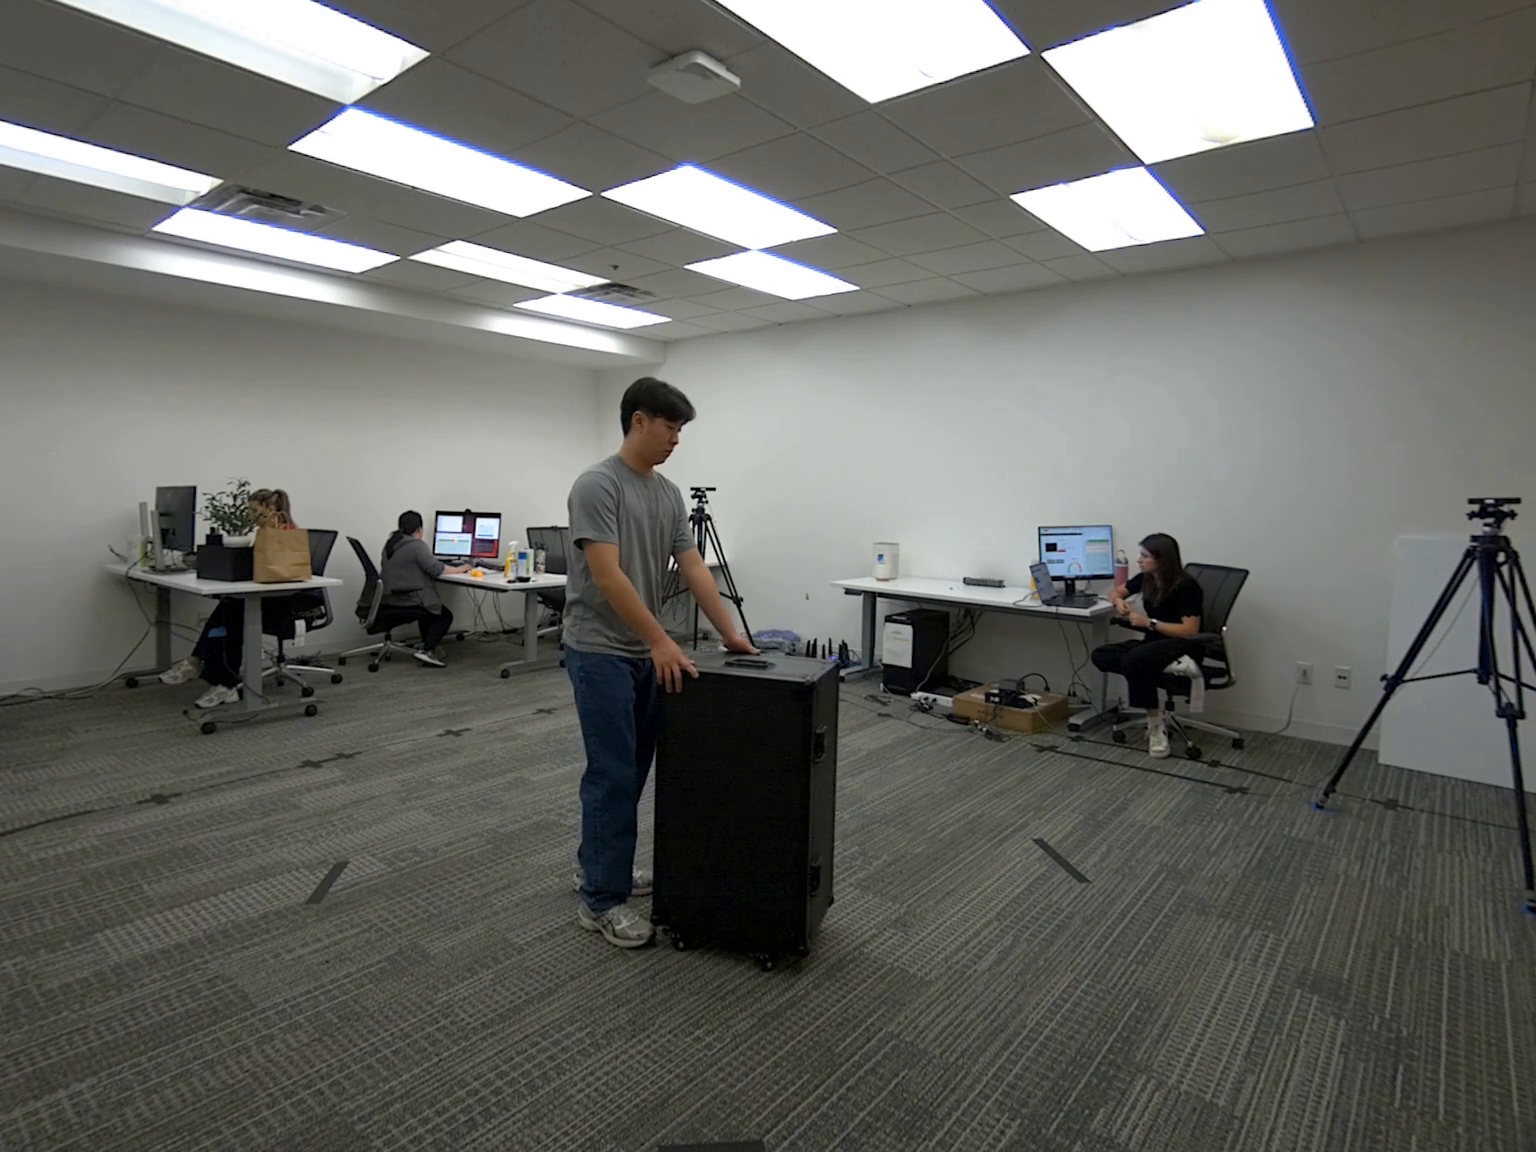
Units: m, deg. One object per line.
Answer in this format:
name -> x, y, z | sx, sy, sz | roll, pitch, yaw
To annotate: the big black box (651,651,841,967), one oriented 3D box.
big black box -> -0.069, 0.696, 2.634 | 0.532, 0.860, 0.389 | 3, 2, 19
